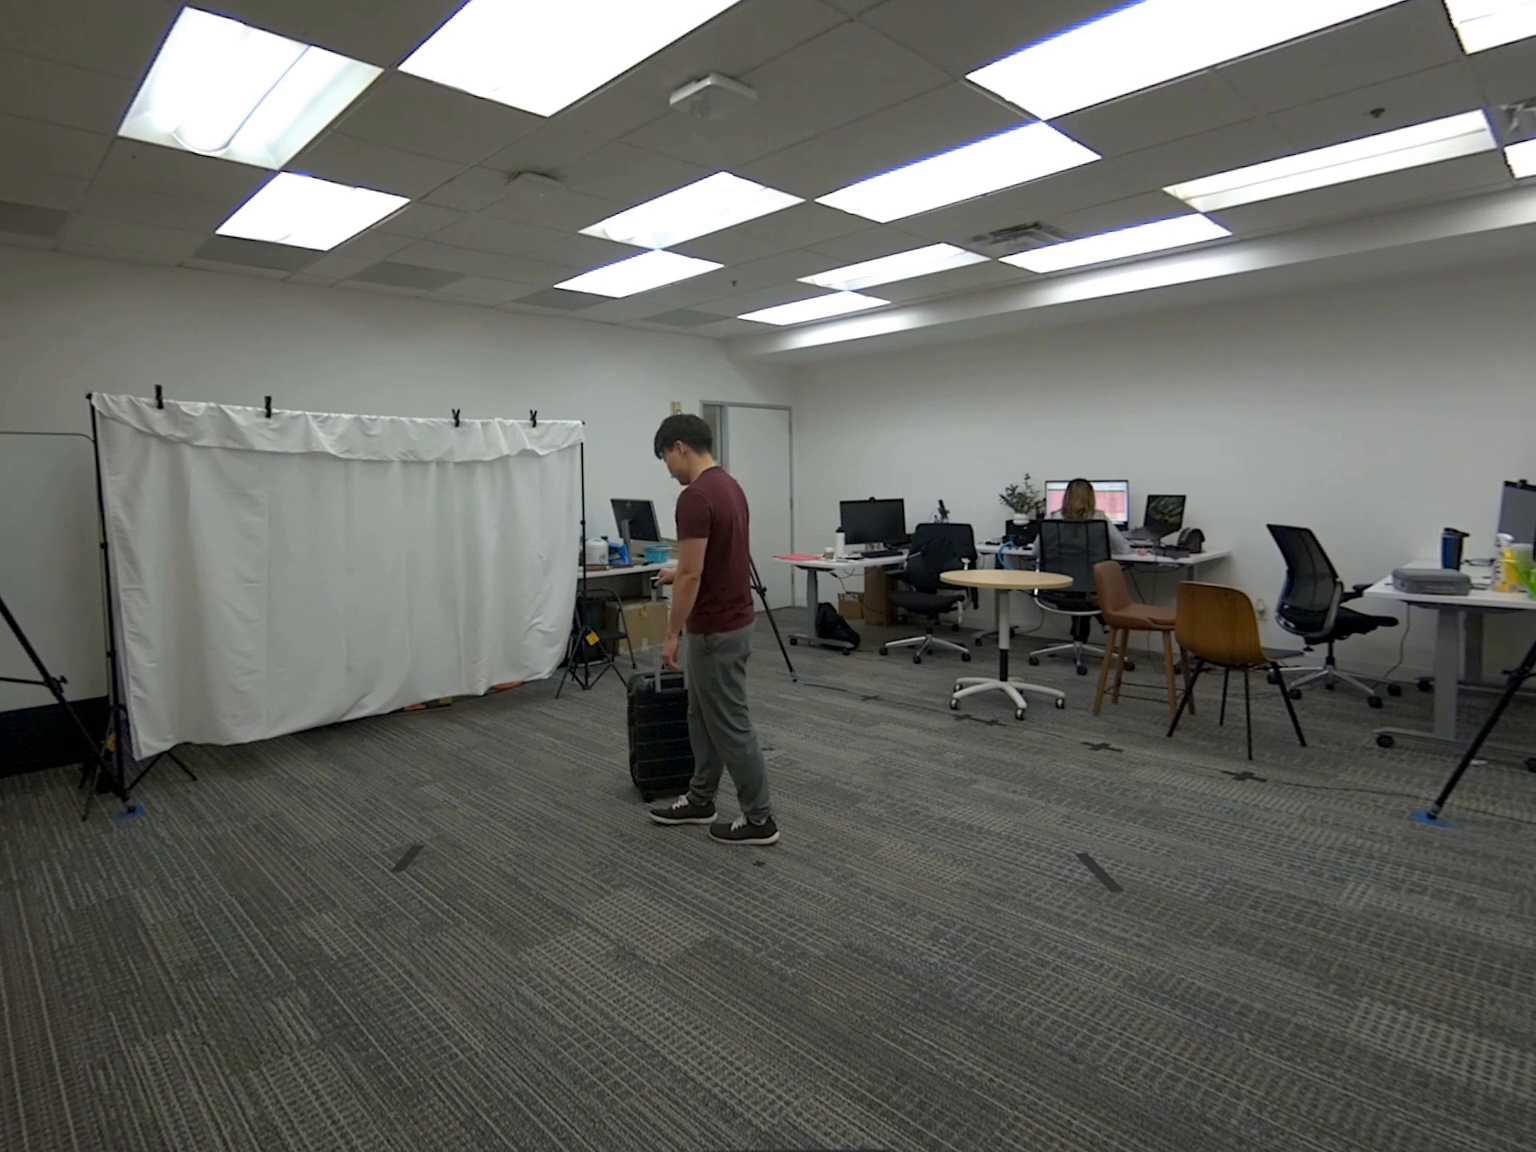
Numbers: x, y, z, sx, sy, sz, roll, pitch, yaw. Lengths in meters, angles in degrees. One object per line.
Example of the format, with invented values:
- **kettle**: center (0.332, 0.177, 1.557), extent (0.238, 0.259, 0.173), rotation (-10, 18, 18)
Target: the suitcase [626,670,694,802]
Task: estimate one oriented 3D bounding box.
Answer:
- **suitcase**: center (-0.453, 0.494, 3.855), extent (0.380, 0.977, 0.260), rotation (-3, 2, -10)
